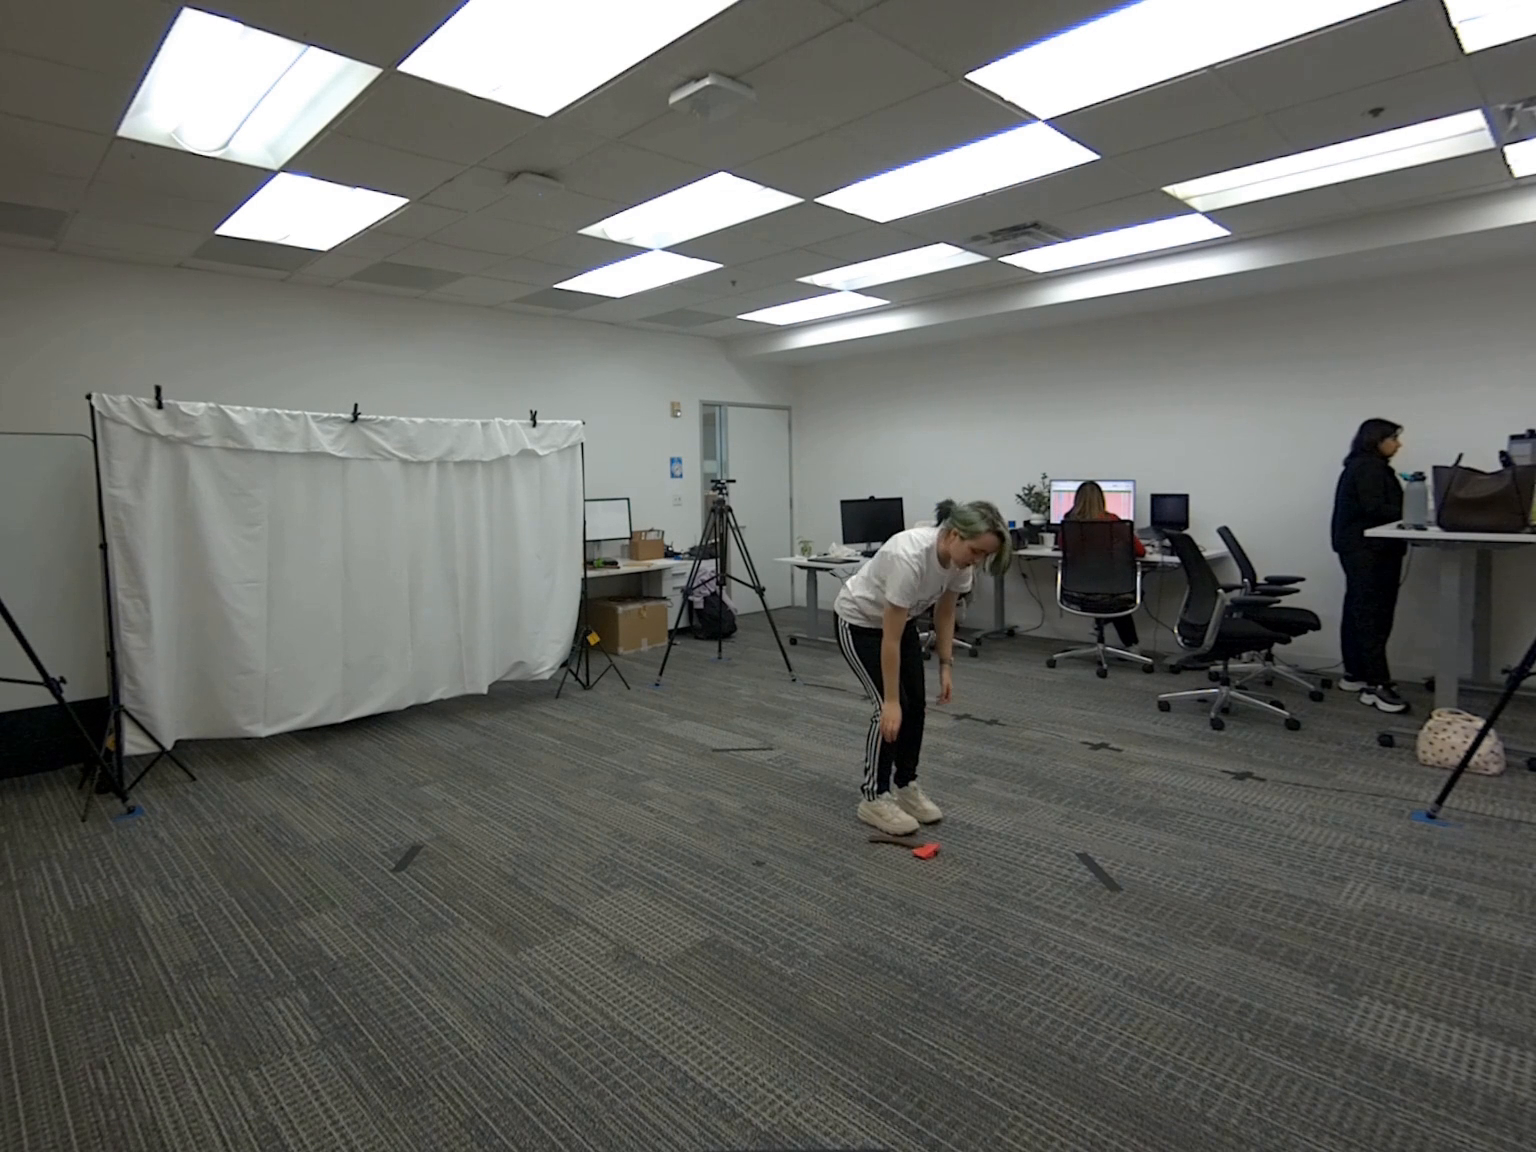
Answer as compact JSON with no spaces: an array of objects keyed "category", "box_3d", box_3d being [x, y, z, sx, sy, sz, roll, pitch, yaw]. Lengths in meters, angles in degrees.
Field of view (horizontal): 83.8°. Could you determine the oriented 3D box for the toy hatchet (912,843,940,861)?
[{"category":"toy hatchet","box_3d":[0.502,1.020,3.195,0.275,0.029,0.129,-1,7,18]}]
